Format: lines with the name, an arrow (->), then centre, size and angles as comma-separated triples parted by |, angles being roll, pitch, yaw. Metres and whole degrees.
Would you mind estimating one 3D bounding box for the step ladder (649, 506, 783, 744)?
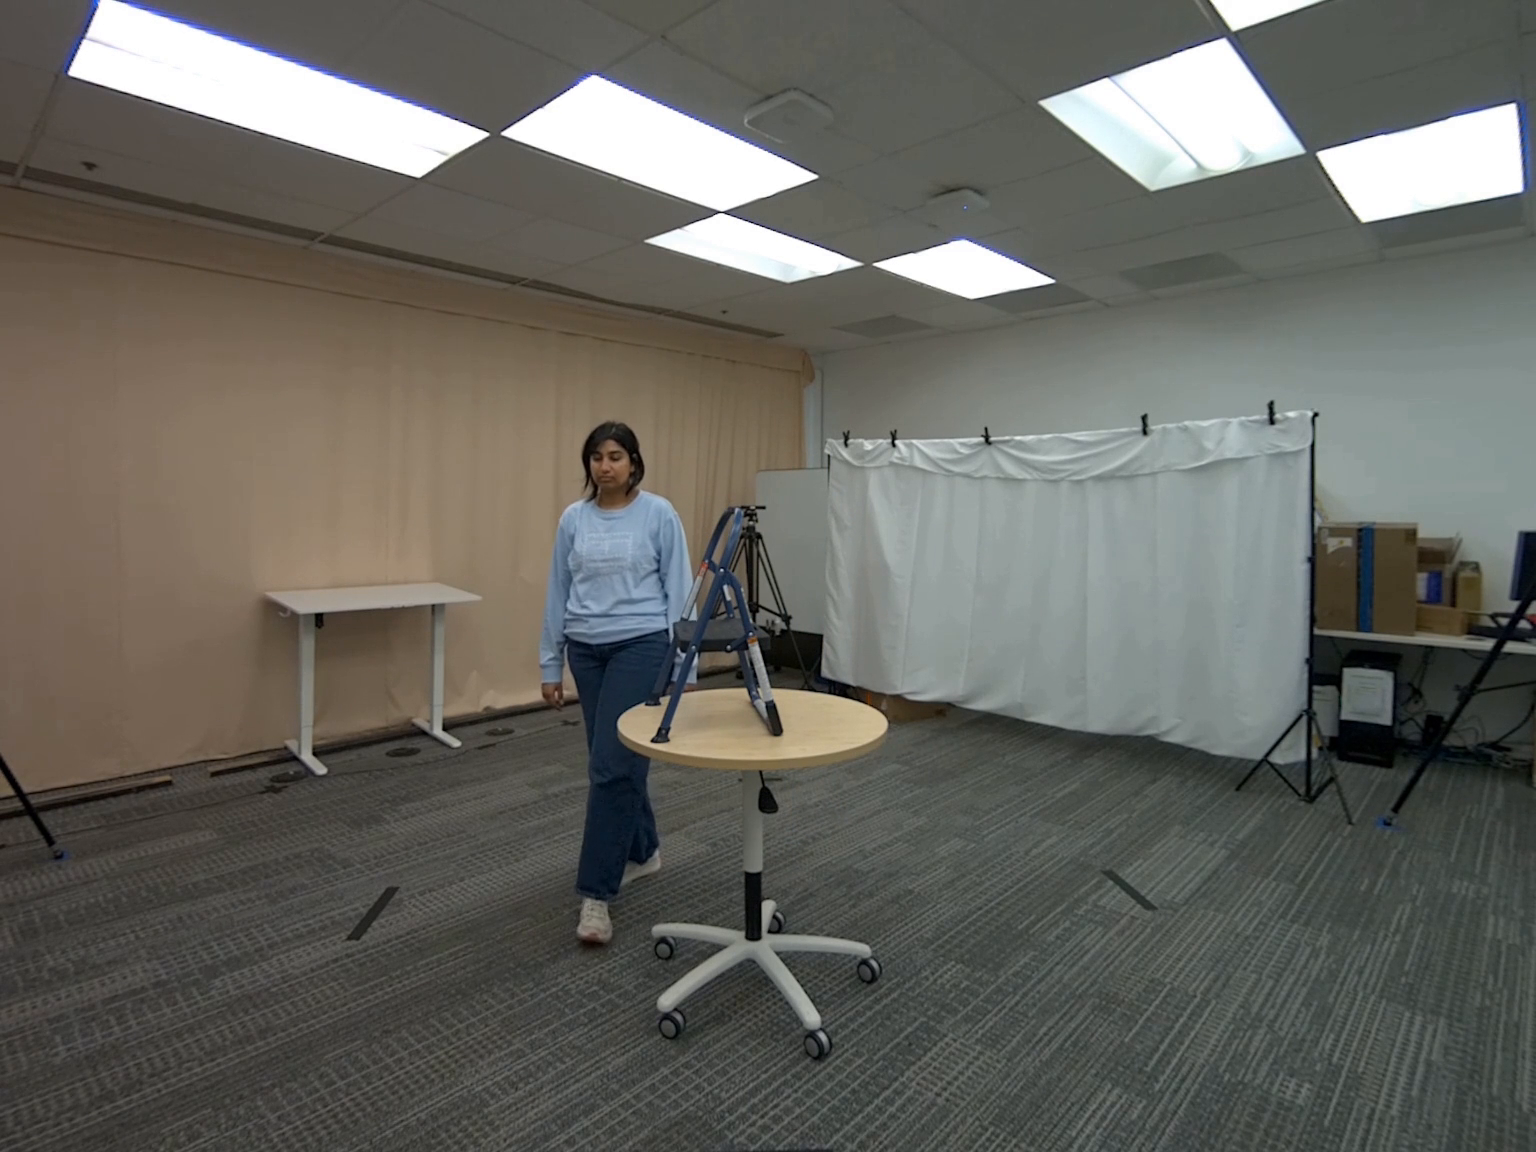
step ladder -> -0.160, 0.110, 2.382 | 0.346, 0.605, 0.436 | -2, 3, -10
